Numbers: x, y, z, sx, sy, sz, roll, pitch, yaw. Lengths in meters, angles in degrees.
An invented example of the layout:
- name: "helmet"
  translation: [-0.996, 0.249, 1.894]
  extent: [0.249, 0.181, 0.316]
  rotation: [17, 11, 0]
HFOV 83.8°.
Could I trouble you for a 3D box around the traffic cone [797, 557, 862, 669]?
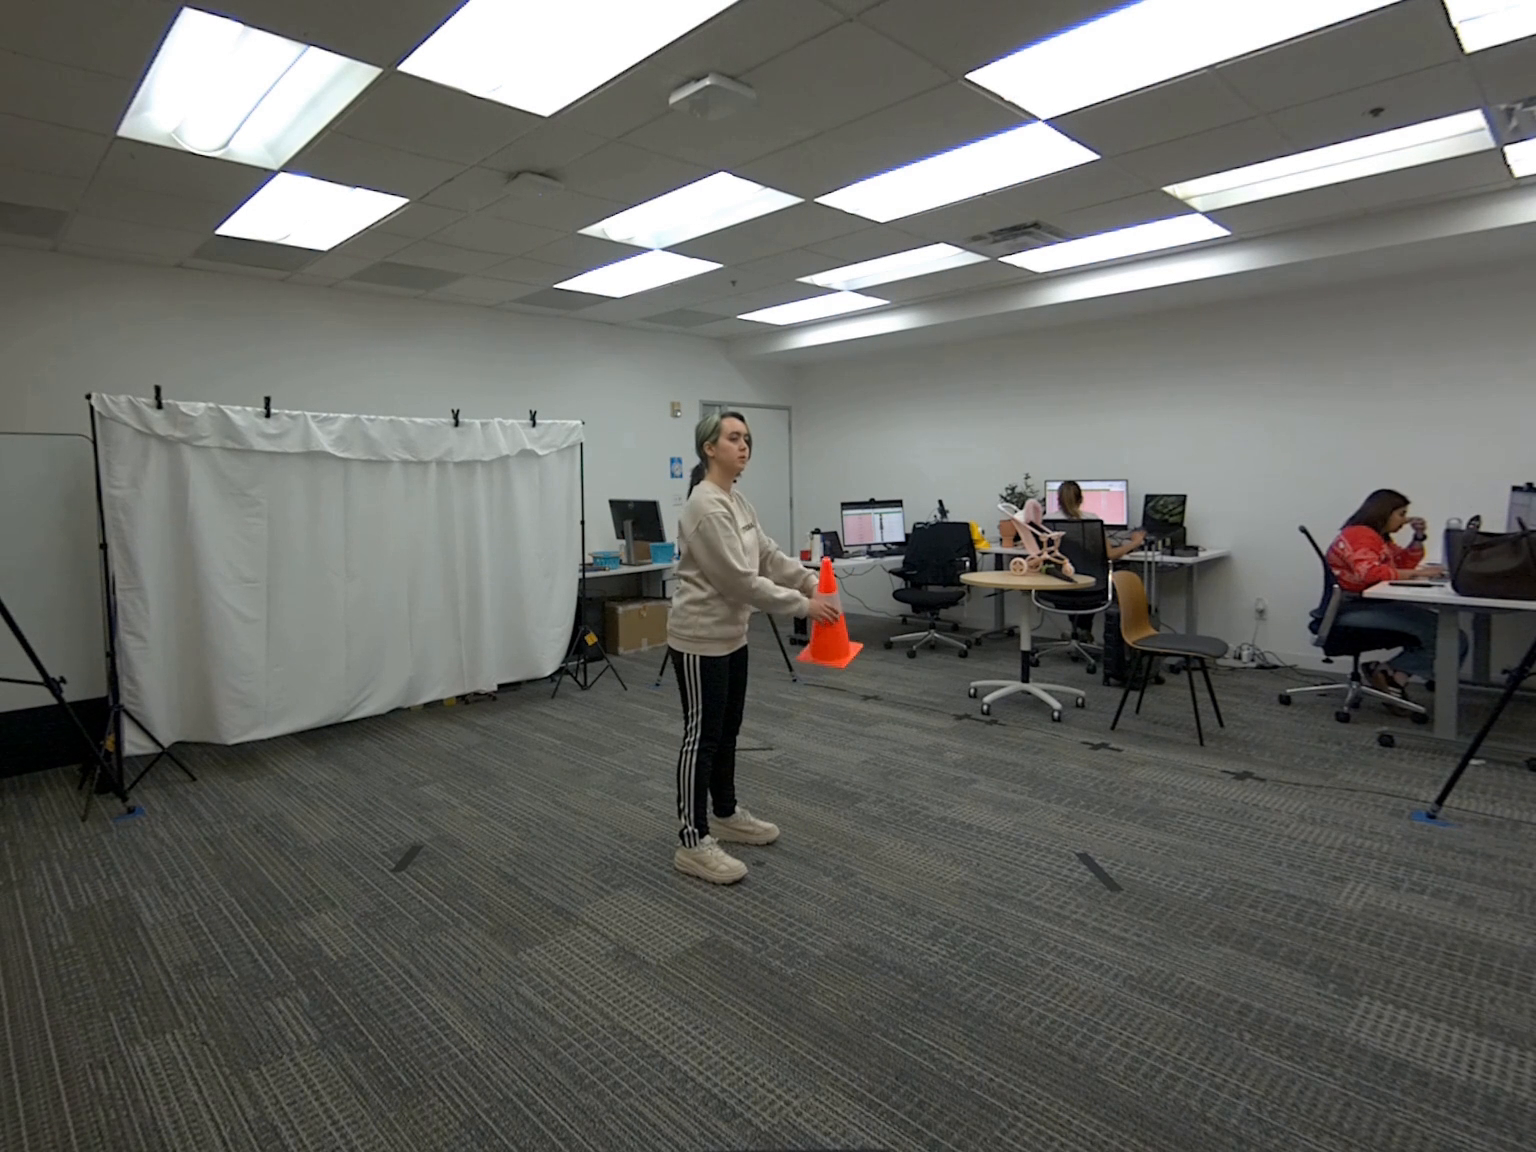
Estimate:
- name: "traffic cone"
  translation: [0.206, 0.102, 3.149]
  extent: [0.209, 0.376, 0.203]
  rotation: [7, 24, 30]
